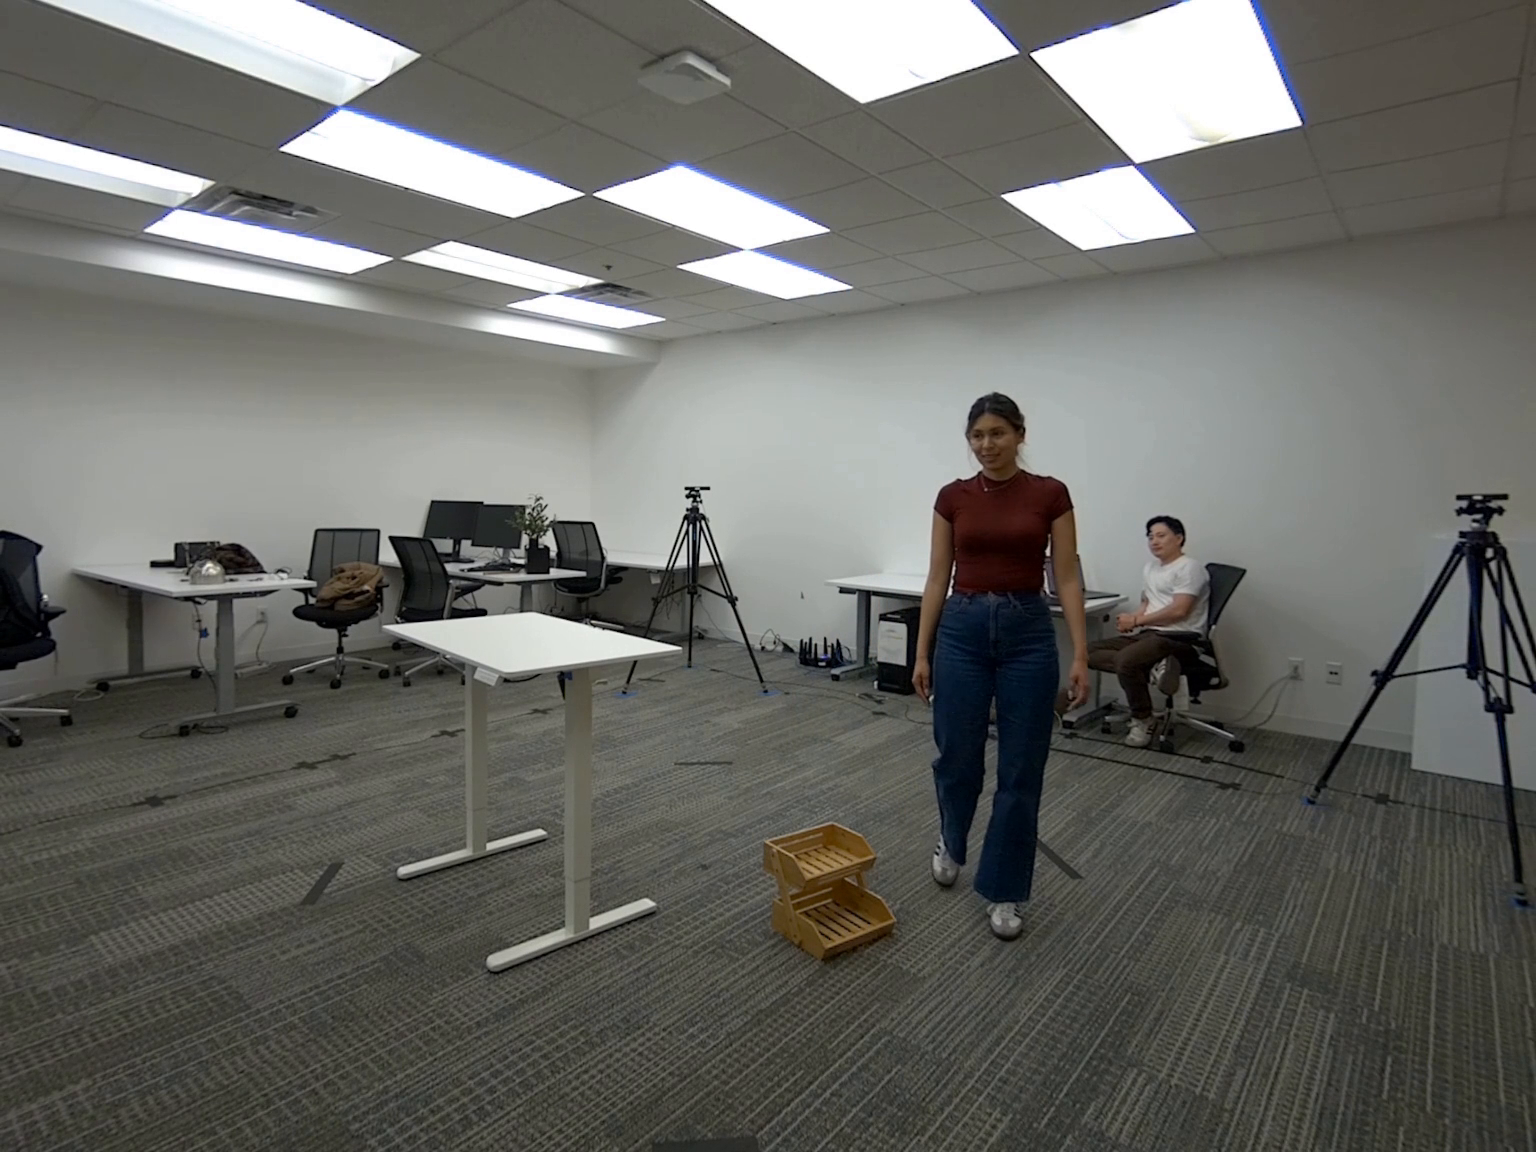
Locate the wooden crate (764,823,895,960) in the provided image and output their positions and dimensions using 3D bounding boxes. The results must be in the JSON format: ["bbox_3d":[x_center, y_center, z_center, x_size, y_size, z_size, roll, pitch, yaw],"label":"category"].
[{"bbox_3d":[0.192,0.983,2.694,0.315,0.272,0.312,-2,5,-37],"label":"wooden crate"}]
